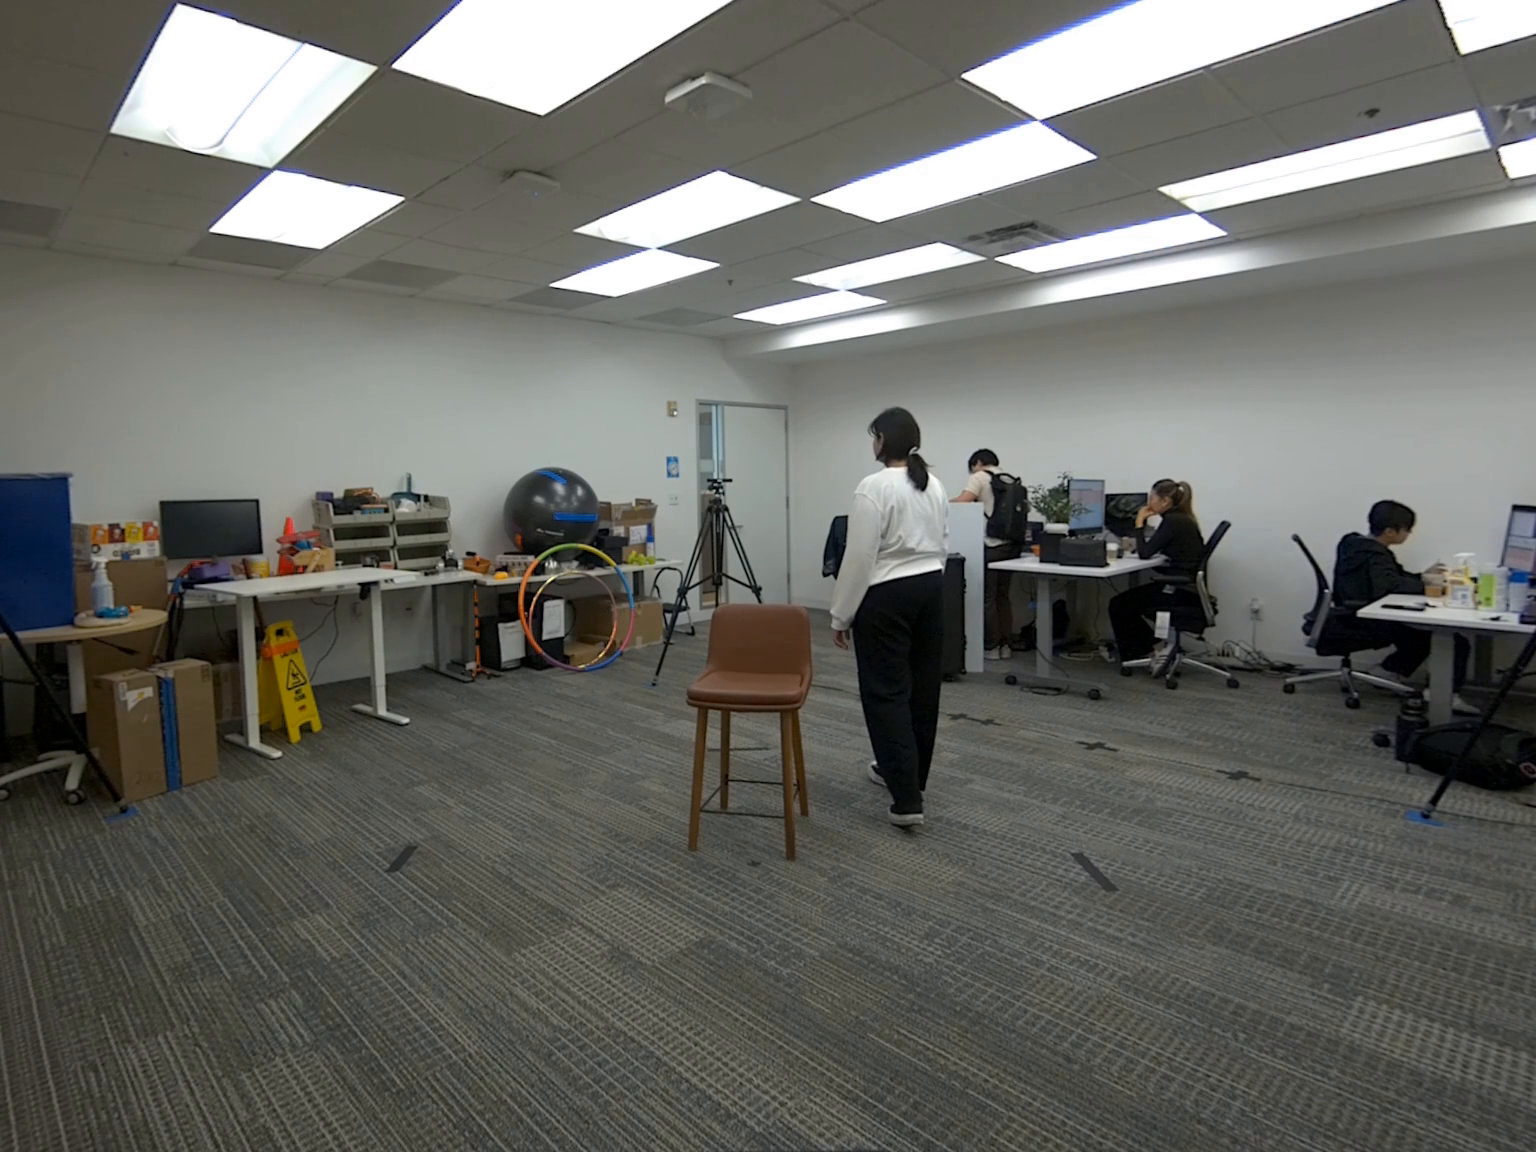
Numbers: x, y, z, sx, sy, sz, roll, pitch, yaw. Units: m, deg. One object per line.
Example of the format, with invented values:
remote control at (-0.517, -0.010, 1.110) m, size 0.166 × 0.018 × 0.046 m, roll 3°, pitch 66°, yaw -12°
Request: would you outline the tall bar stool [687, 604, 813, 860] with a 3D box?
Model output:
tall bar stool at (-0.063, 0.581, 3.371) m, size 0.463 × 0.888 × 0.462 m, roll 0°, pitch 2°, yaw 14°
